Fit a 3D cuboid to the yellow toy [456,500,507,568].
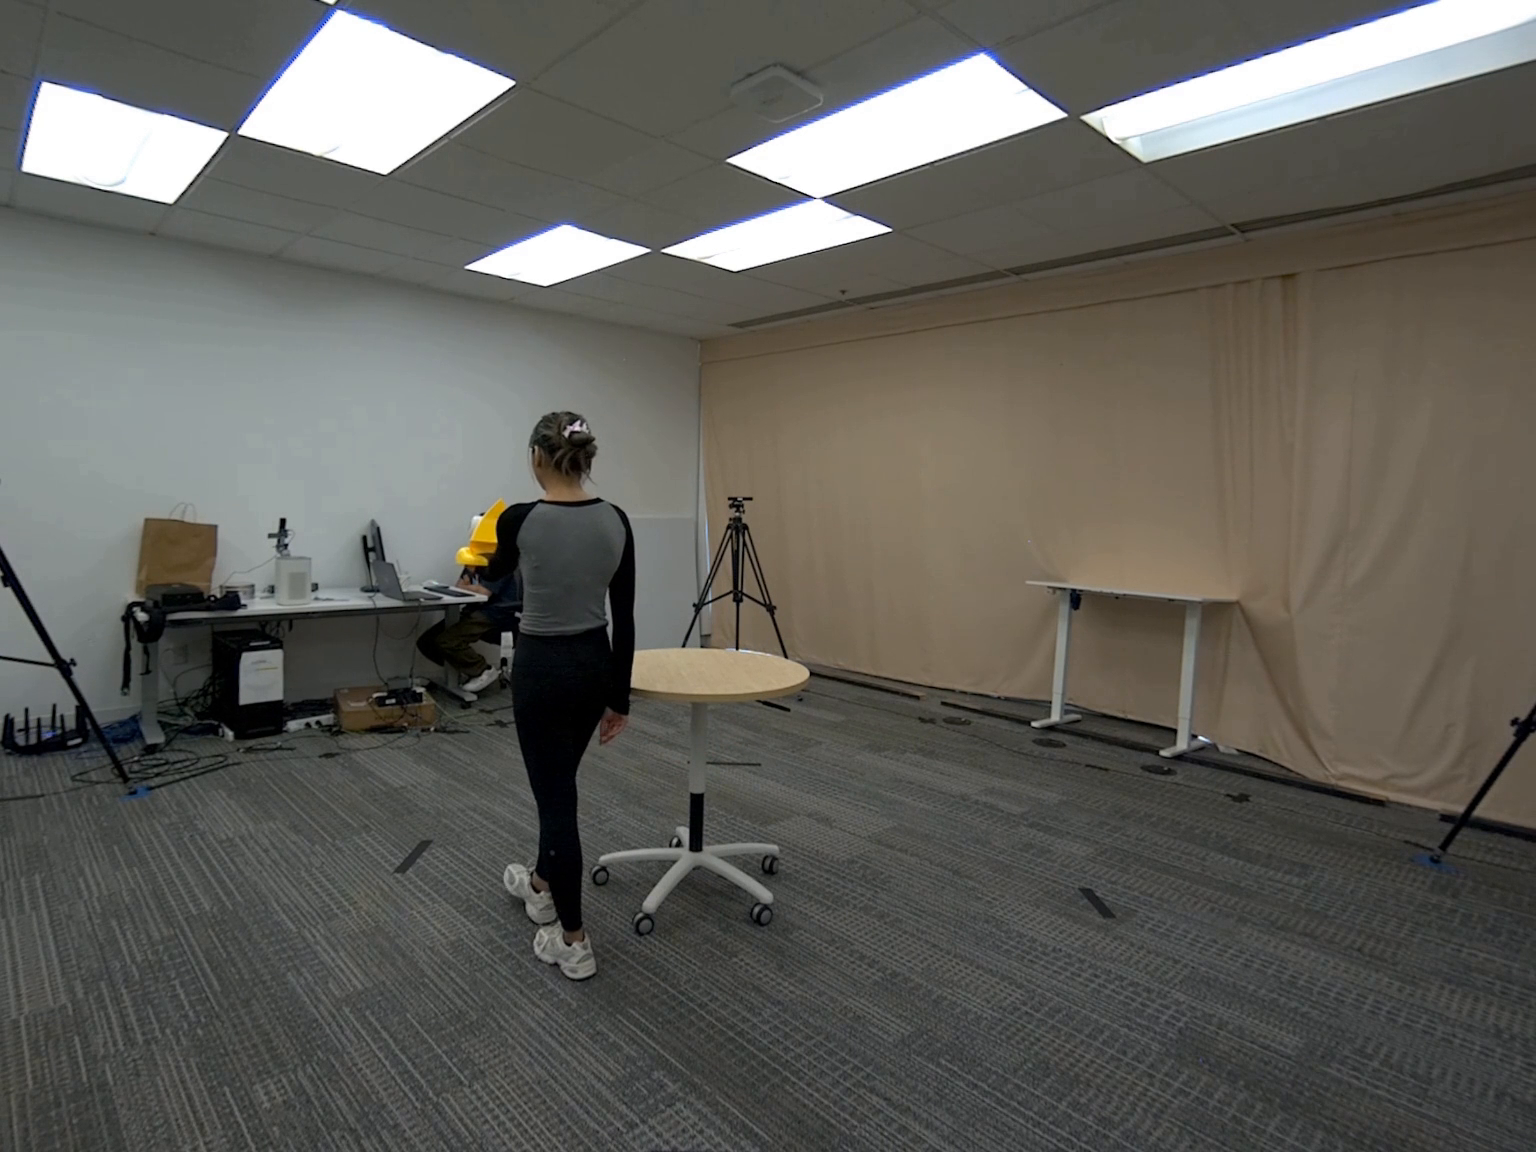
[{"bbox_3d":[-0.962,-0.150,2.881,0.199,0.231,0.198,6,-2,-42],"label":"yellow toy"}]
